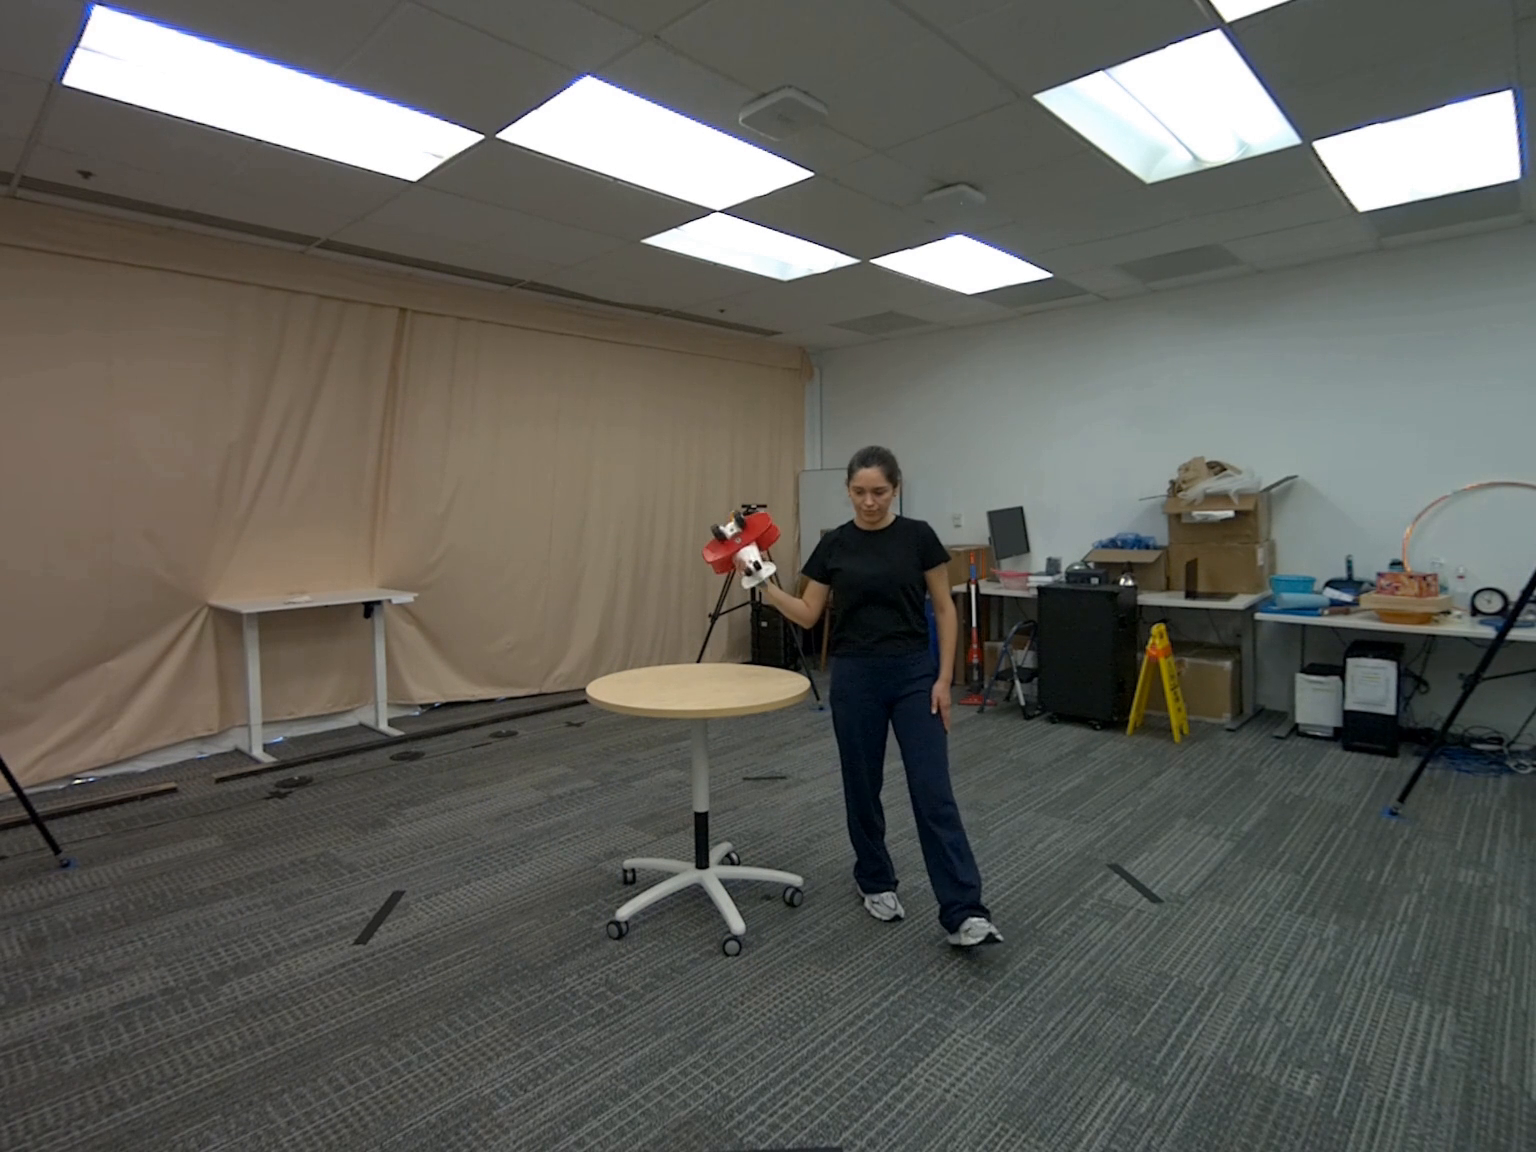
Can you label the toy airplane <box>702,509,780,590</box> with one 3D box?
[{"bbox_3d":[-0.052,-0.080,2.737,0.255,0.262,0.152,-5,-18,15],"label":"toy airplane"}]
